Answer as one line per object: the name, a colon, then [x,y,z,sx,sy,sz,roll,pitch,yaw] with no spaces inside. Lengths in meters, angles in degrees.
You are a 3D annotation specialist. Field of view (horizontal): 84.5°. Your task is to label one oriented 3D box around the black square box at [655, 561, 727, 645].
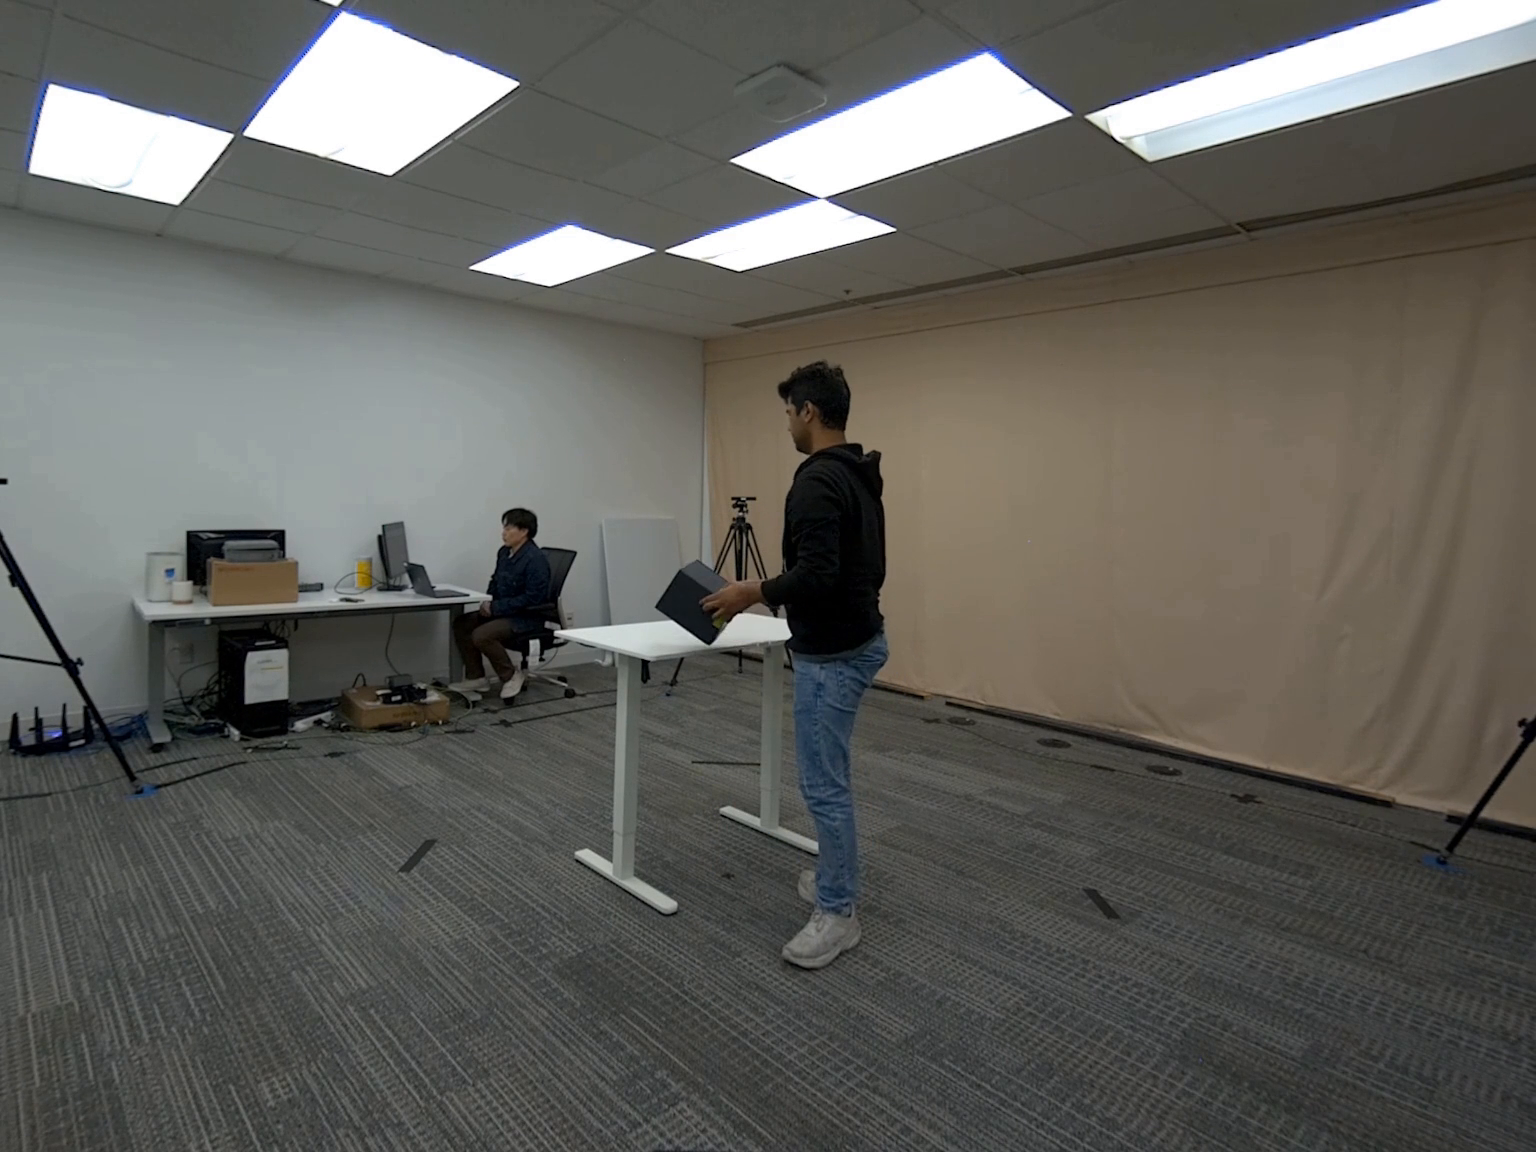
black square box: [-0.216,0.088,2.787,0.217,0.155,0.228,34,13,1]
